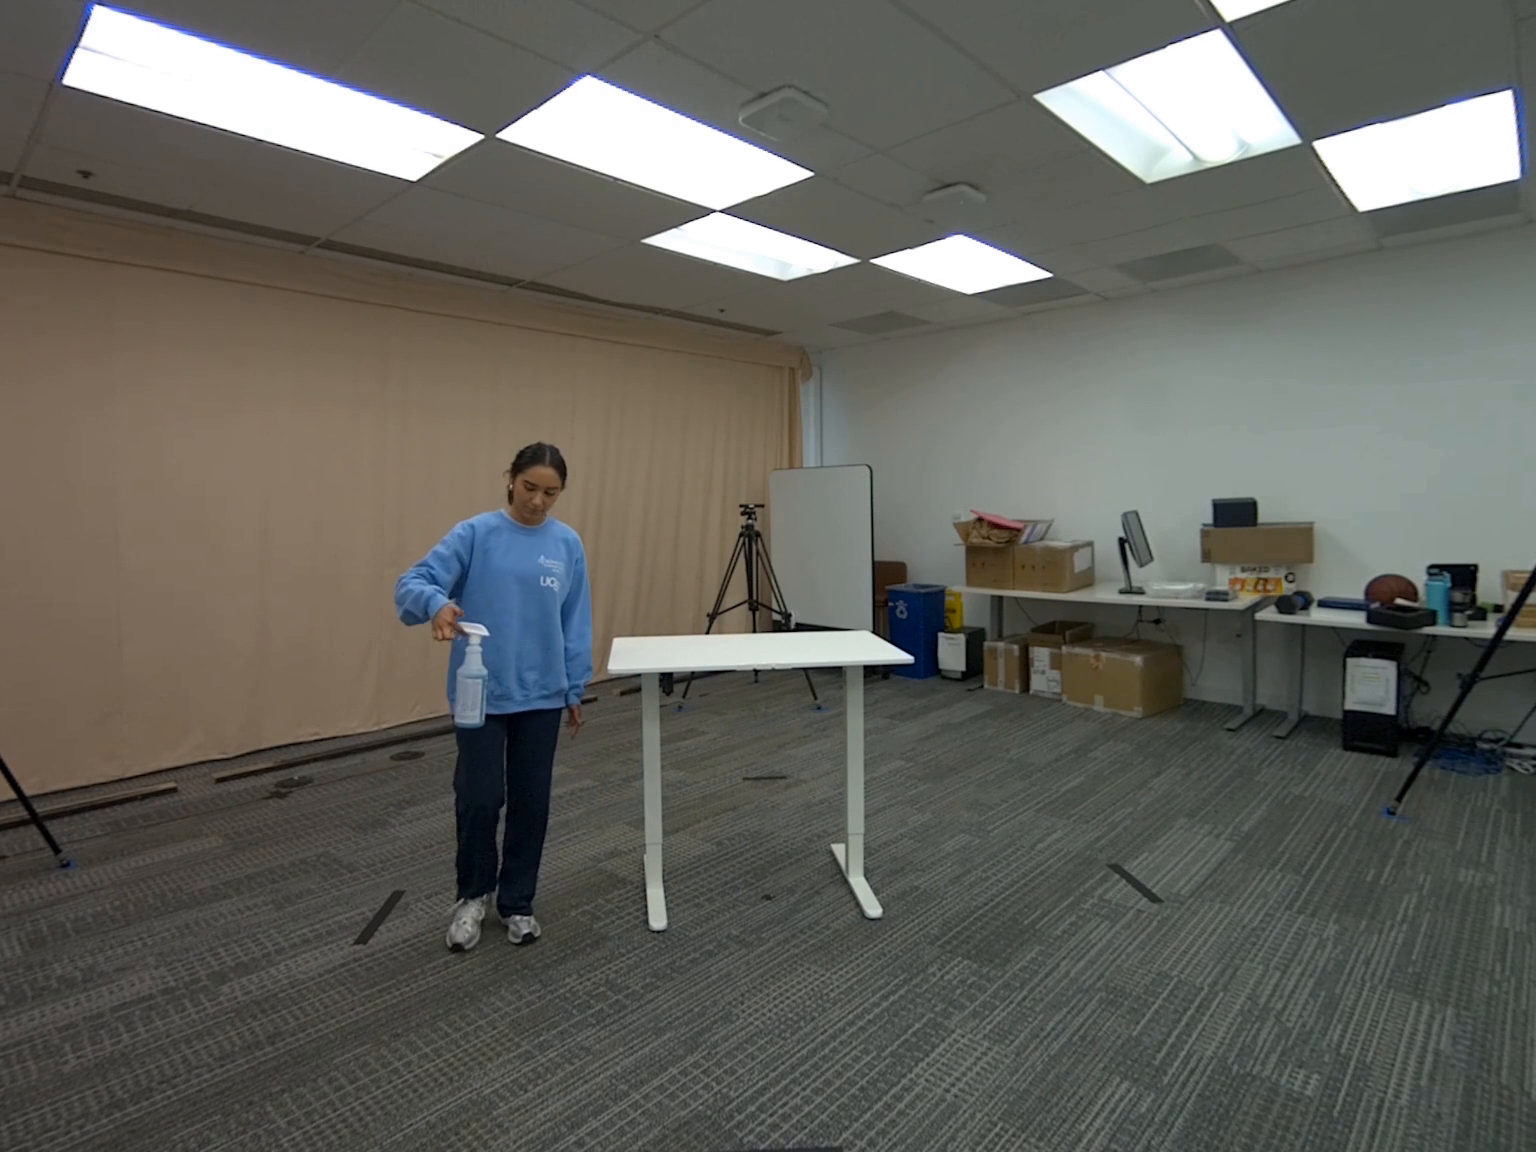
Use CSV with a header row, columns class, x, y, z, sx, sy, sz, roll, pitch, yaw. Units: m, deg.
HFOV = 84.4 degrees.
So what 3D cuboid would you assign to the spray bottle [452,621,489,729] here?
class,x,y,z,sx,sy,sz,roll,pitch,yaw
spray bottle,-0.860,0.296,2.442,0.092,0.297,0.085,5,4,24
